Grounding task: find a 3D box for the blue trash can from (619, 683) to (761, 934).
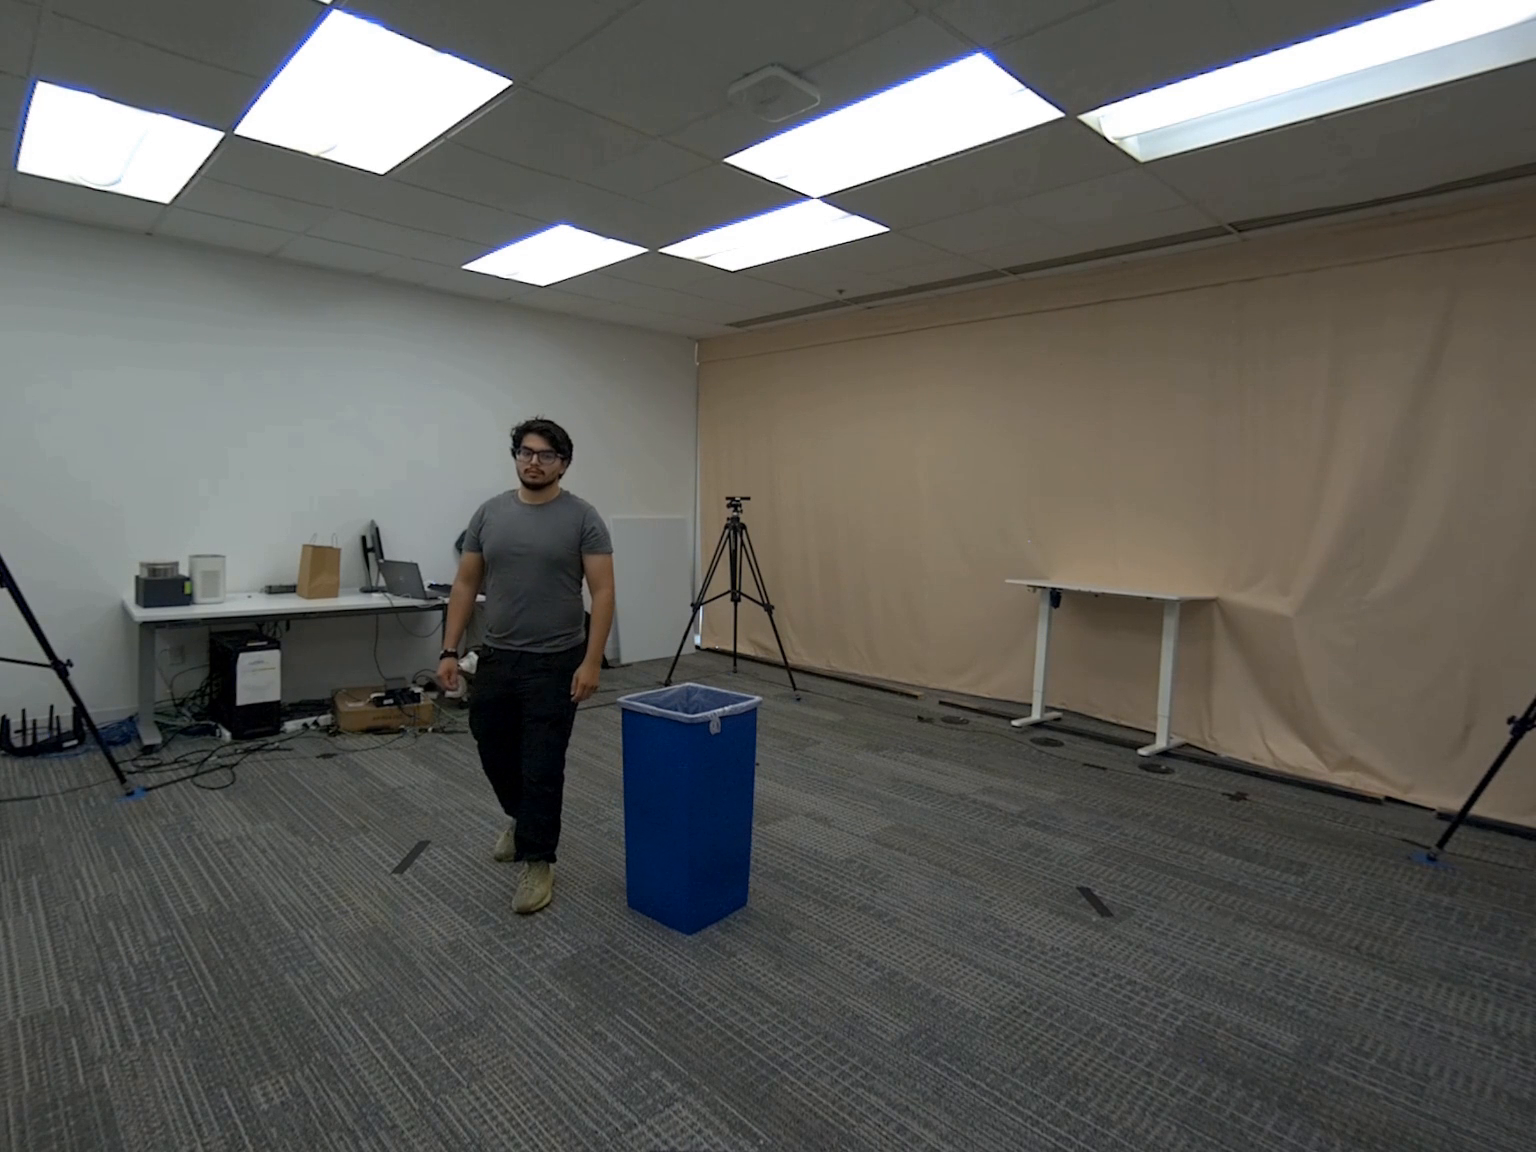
[{"bbox_3d":[-0.283,0.767,2.864,0.383,0.712,0.369,4,4,39],"label":"blue trash can"}]
